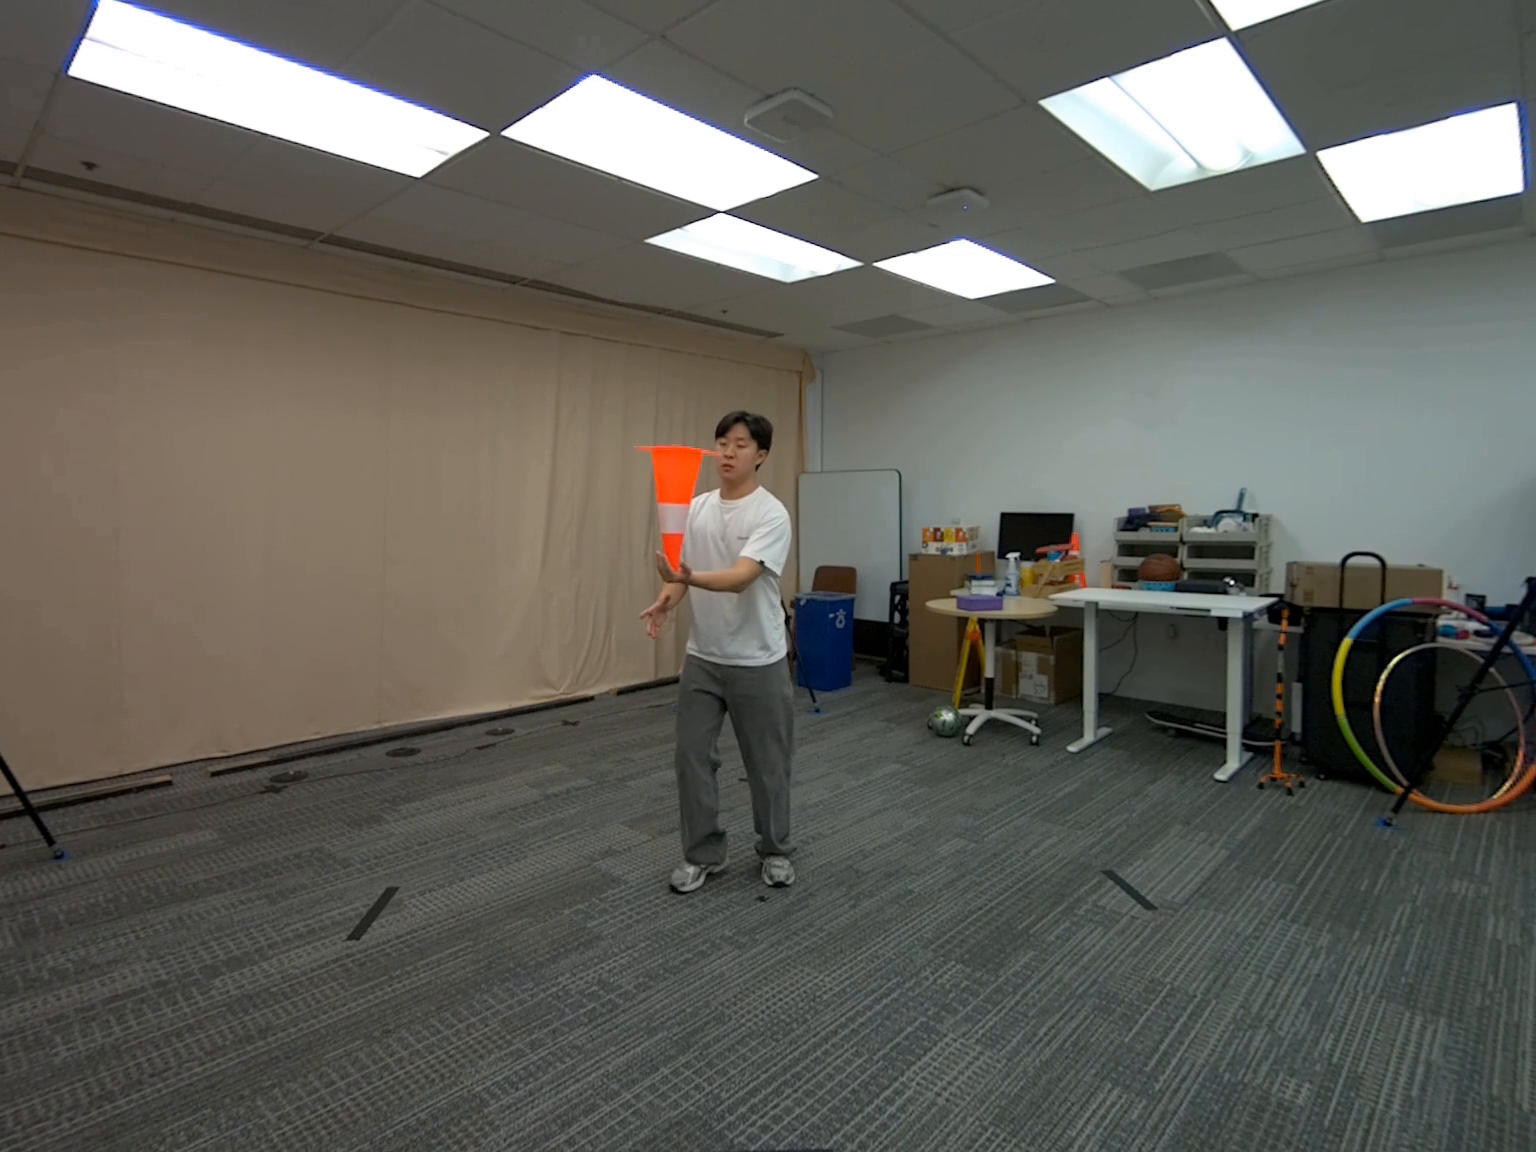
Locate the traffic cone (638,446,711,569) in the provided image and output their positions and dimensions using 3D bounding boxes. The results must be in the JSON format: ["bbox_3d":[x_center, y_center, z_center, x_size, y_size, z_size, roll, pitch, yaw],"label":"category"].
[{"bbox_3d":[-0.281,-0.195,2.603,0.210,0.383,0.198,5,3,43],"label":"traffic cone"}]
